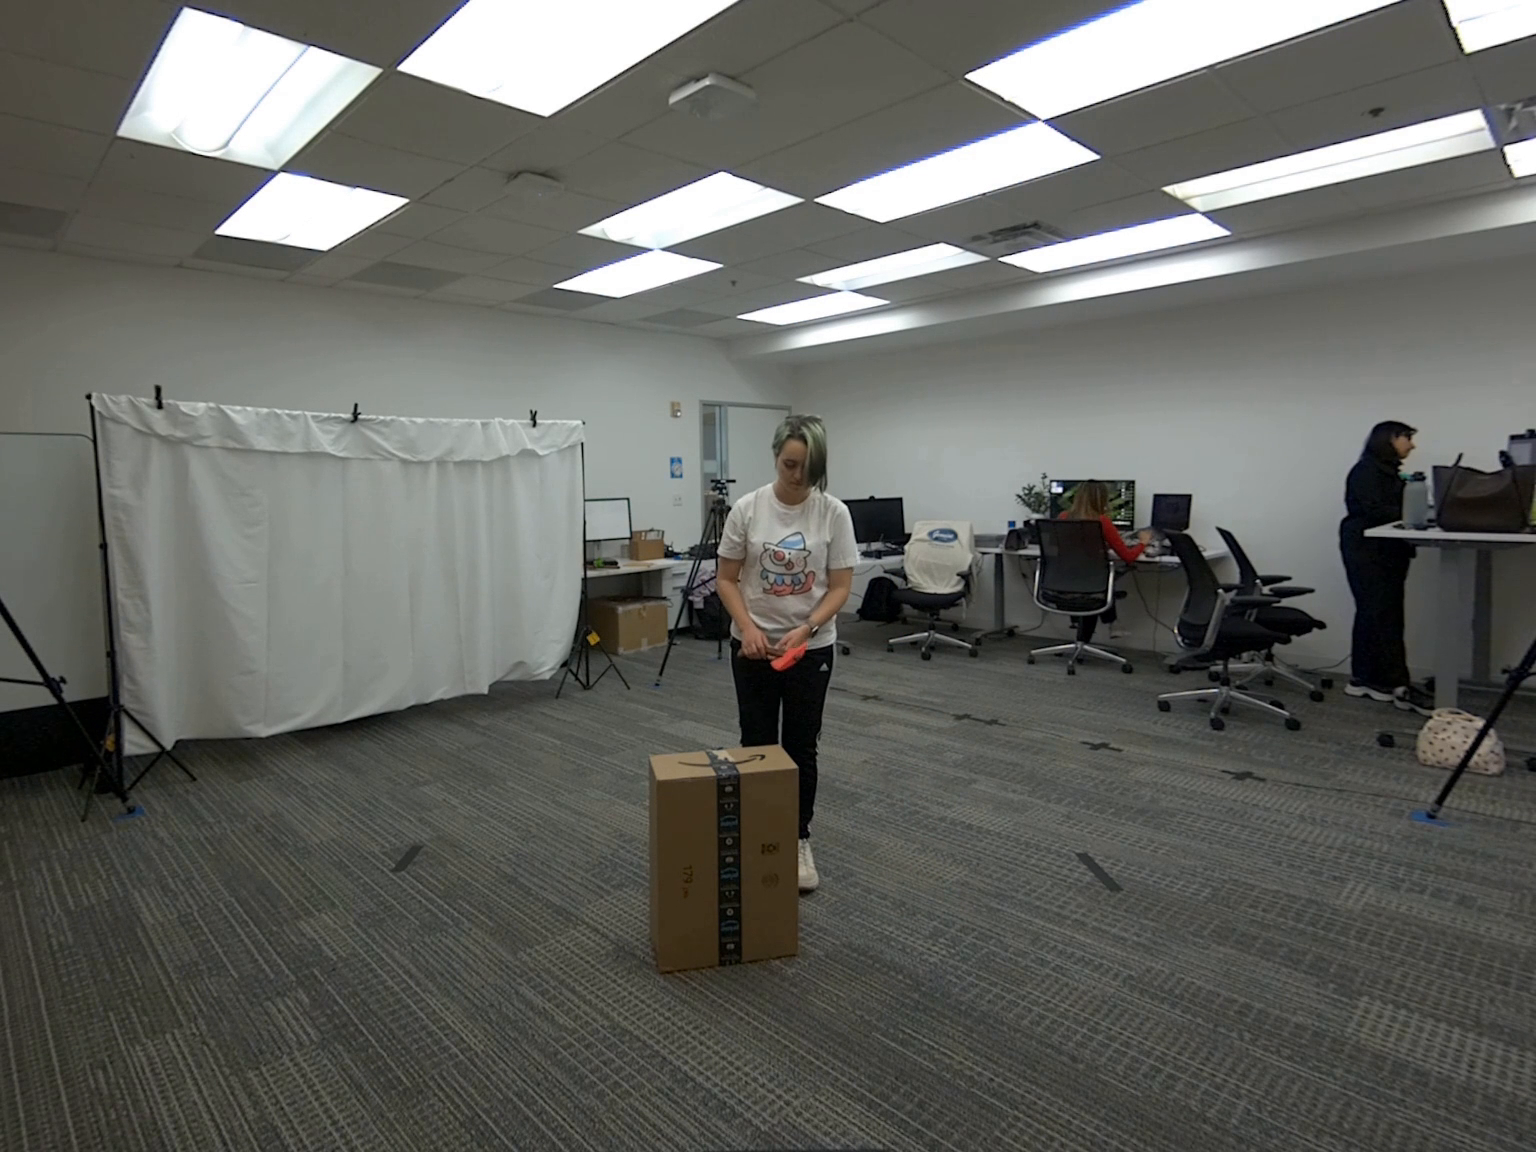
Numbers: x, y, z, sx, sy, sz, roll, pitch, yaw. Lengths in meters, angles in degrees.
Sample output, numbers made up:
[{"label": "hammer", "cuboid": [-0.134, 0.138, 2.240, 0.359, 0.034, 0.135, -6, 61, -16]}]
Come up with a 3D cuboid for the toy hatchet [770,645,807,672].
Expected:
[{"label": "toy hatchet", "cuboid": [-0.008, 0.269, 2.755, 0.276, 0.029, 0.131, -13, 27, 38]}]
